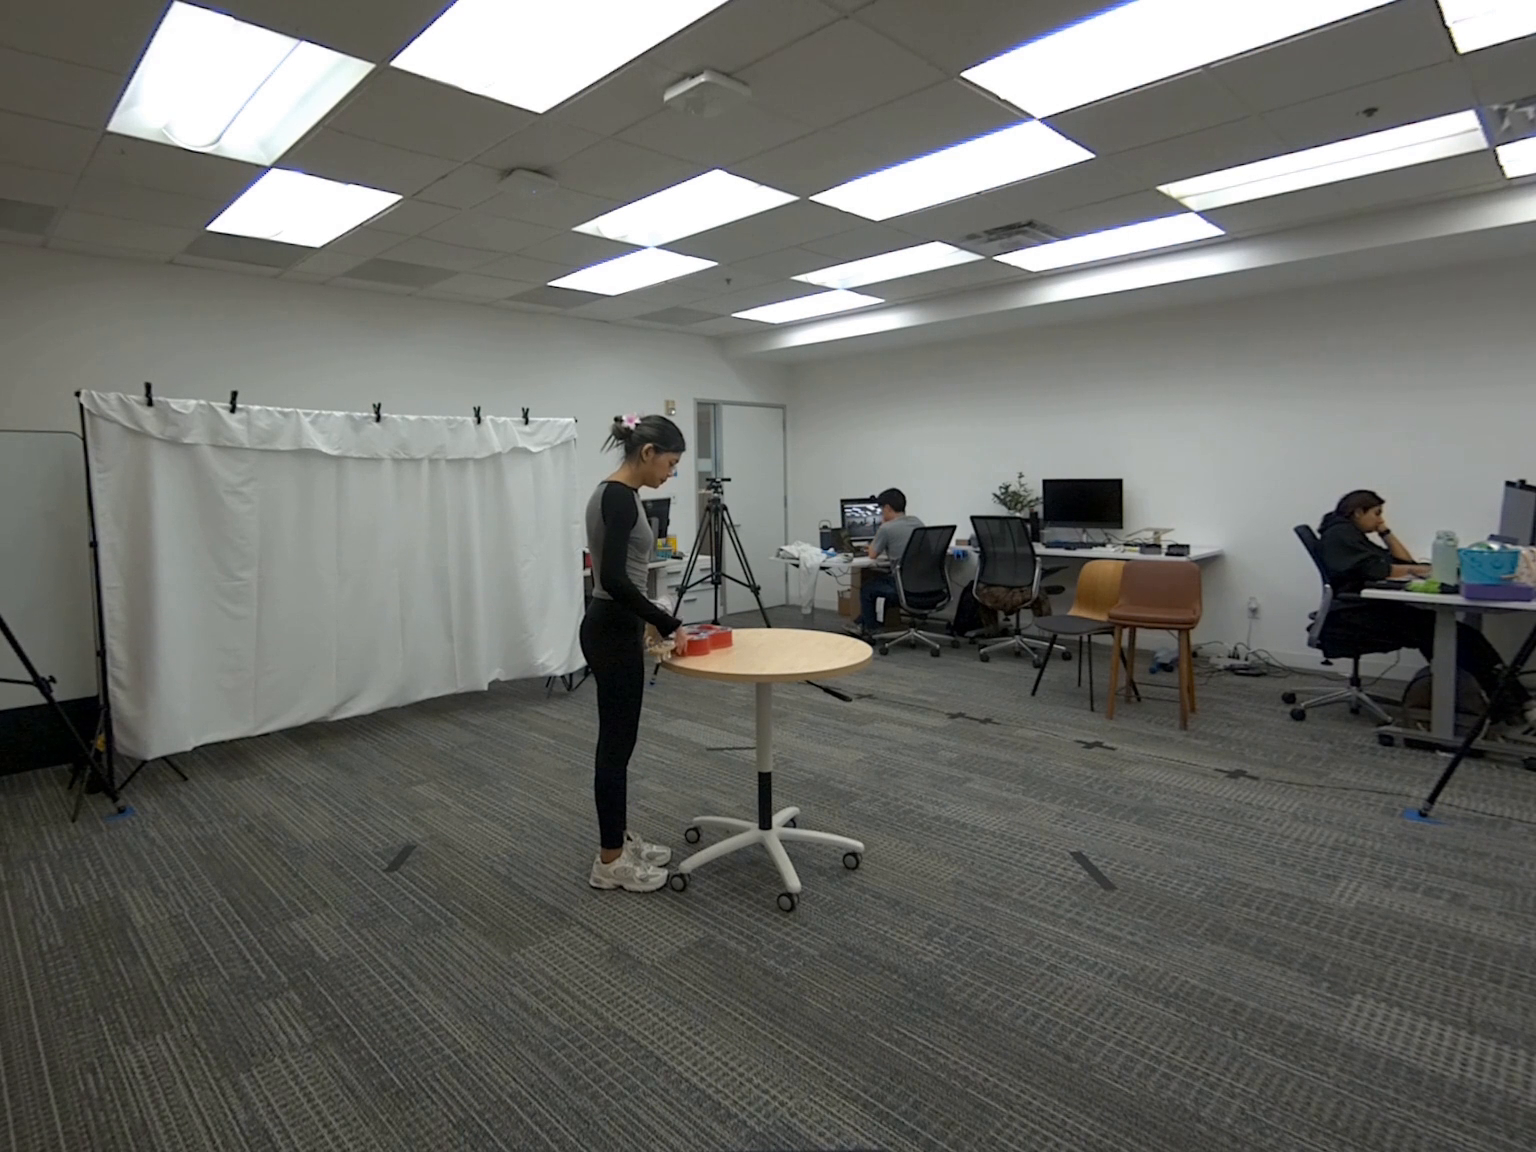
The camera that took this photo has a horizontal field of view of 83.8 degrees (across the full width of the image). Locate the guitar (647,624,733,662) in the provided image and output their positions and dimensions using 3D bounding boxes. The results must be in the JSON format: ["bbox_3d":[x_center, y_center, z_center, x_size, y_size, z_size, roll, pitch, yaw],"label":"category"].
[{"bbox_3d":[-0.309,0.234,2.947,0.198,0.070,0.487,5,8,28],"label":"guitar"}]
